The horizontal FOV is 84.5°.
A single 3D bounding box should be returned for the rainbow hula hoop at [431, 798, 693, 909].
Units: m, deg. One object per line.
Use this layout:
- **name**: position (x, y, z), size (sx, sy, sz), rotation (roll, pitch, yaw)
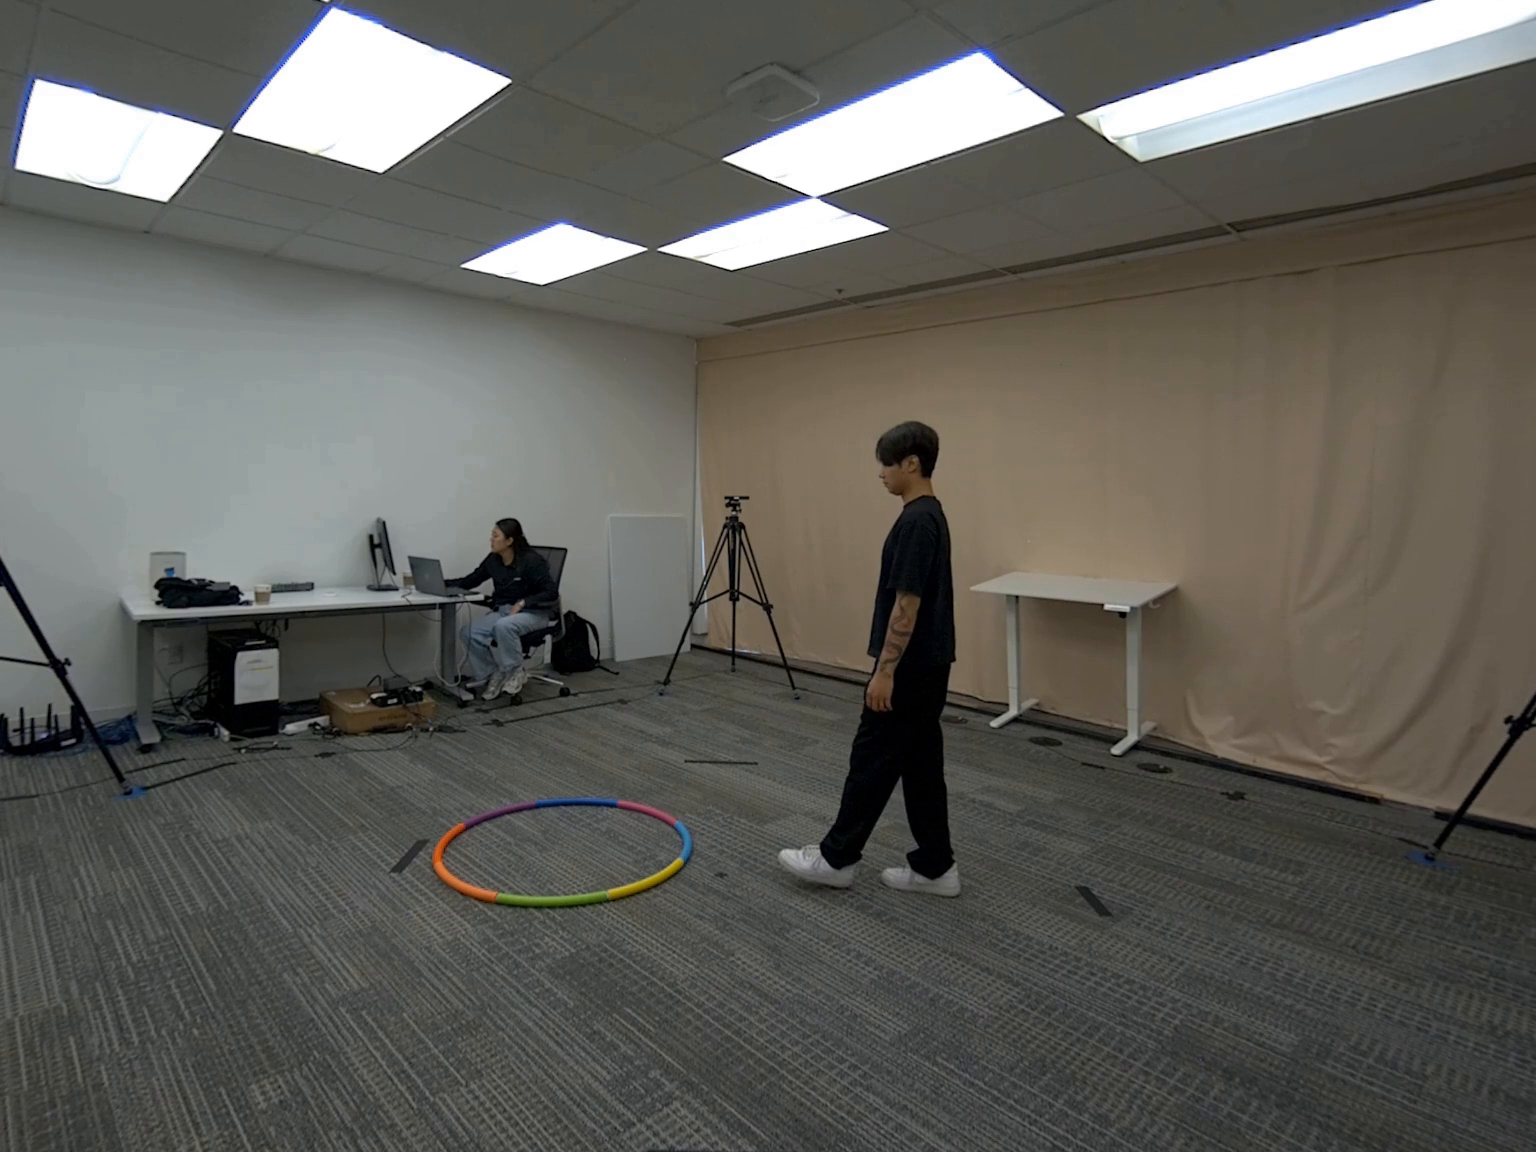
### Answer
- **rainbow hula hoop**: position (-0.794, 1.041, 3.303), size (0.978, 0.035, 0.982), rotation (1, 5, -1)
